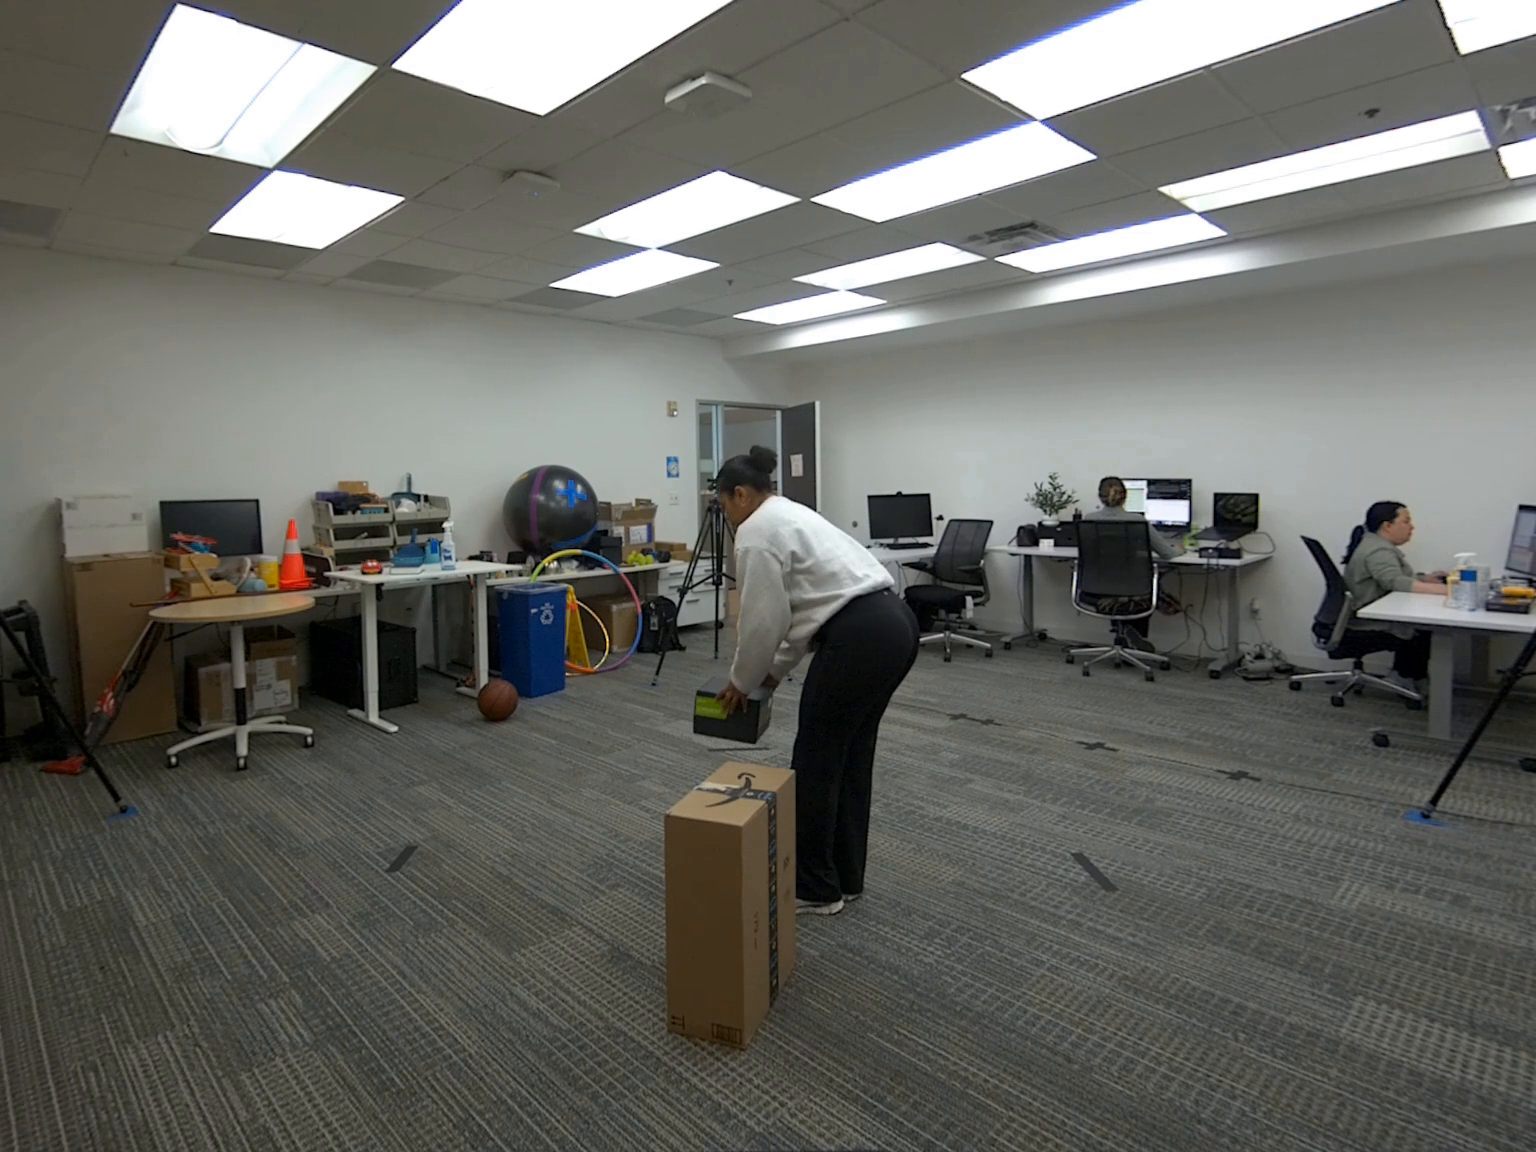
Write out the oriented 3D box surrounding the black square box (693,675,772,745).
[{"bbox_3d":[-0.118,0.470,3.018,0.231,0.155,0.215,6,8,13],"label":"black square box"}]
